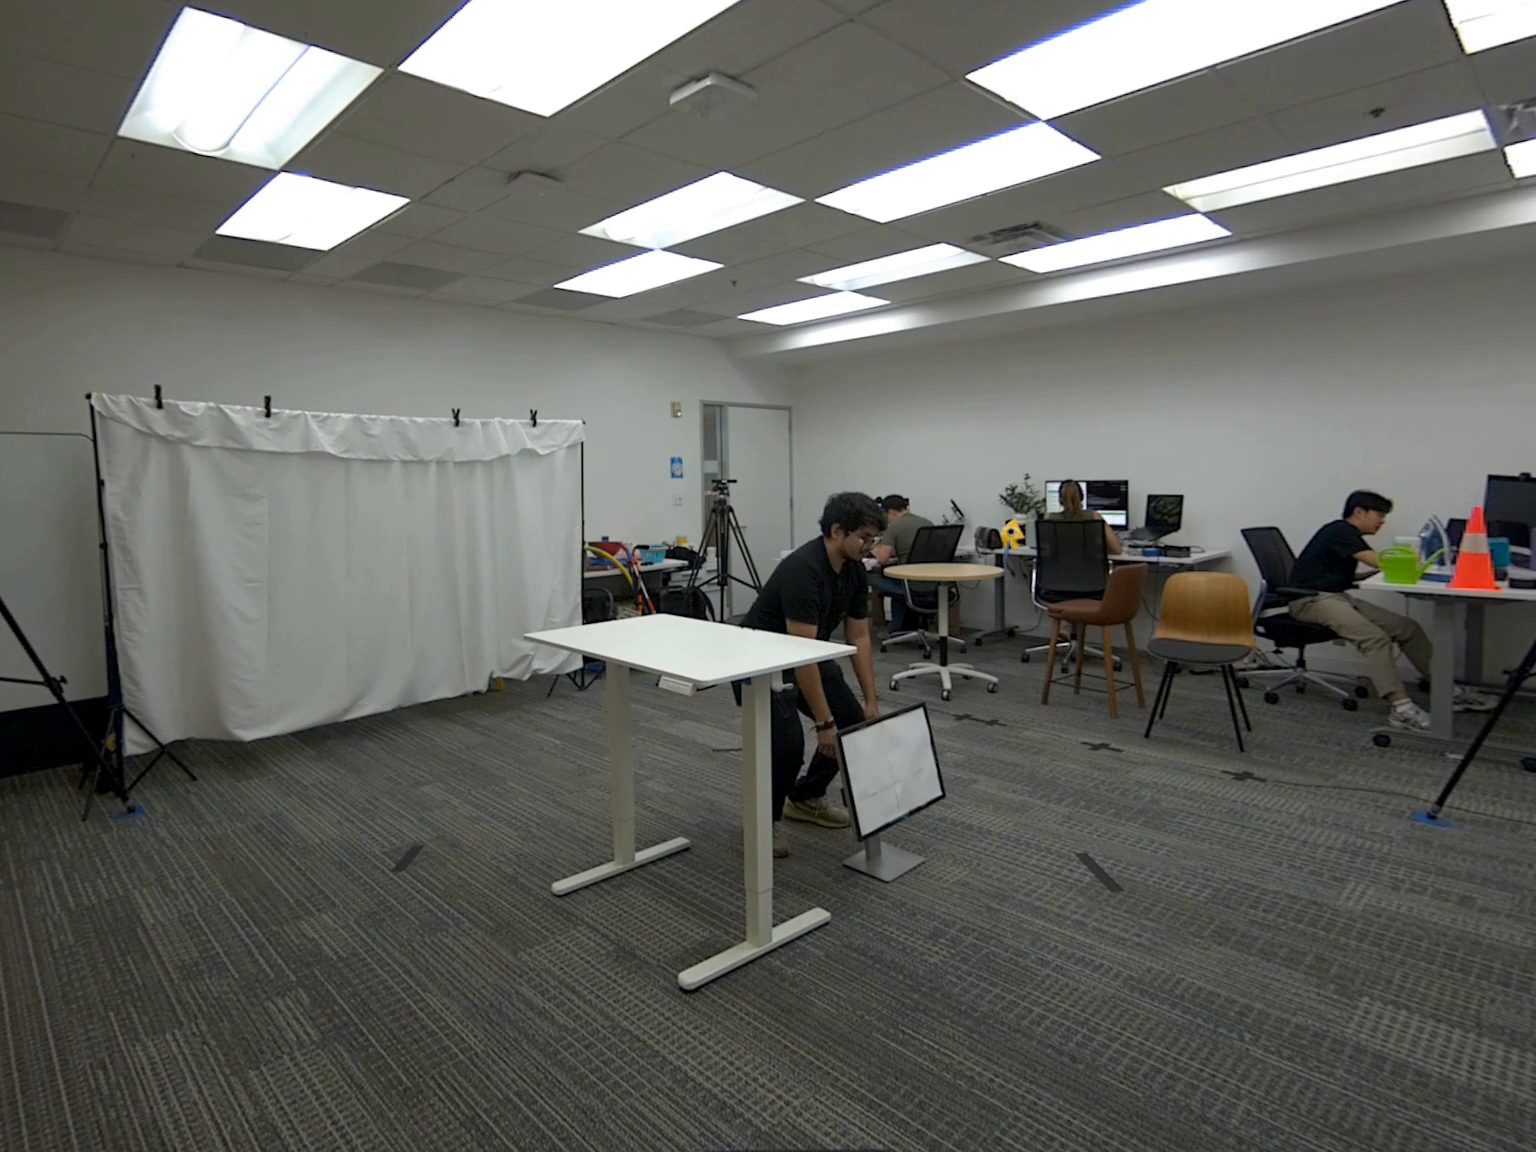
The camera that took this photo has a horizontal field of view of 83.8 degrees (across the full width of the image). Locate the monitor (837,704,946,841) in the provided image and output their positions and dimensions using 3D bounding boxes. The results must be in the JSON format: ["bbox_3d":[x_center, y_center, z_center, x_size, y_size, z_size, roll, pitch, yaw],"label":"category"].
[{"bbox_3d":[0.392,0.774,3.095,0.216,0.554,0.550,-6,0,44],"label":"monitor"}]
